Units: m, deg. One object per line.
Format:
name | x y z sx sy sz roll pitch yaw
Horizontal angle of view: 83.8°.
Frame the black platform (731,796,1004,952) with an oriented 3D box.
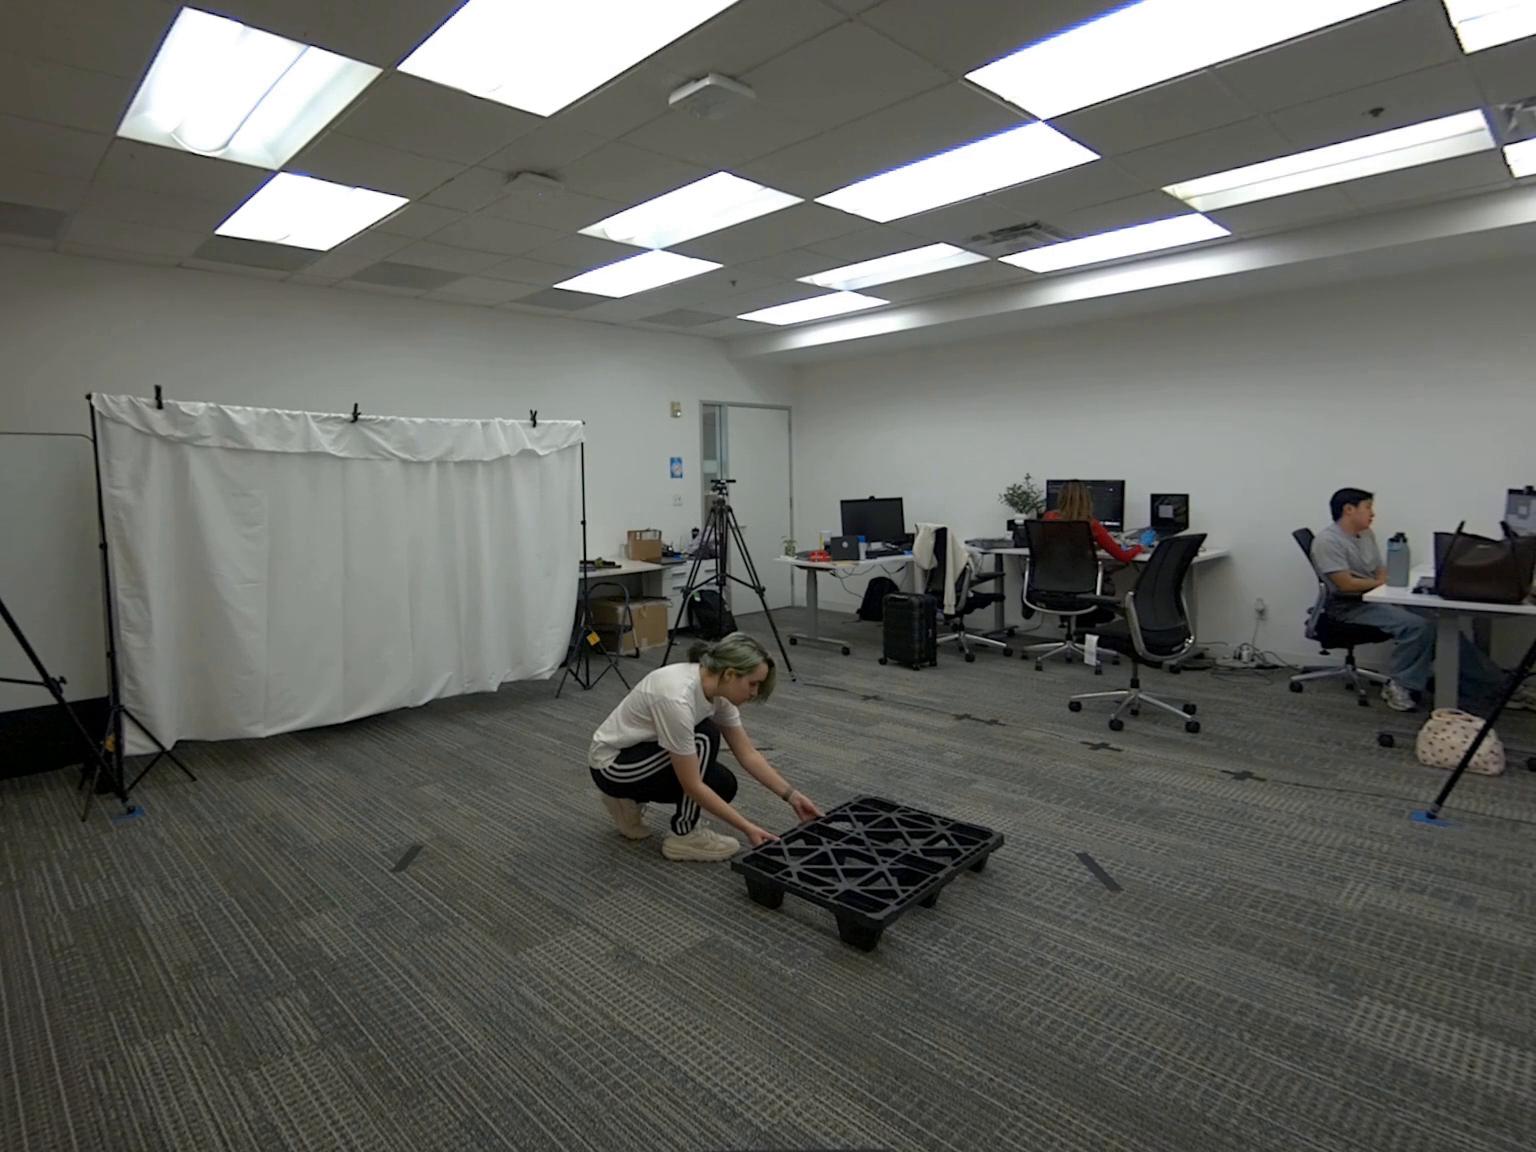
black platform | 0.353 0.995 2.926 0.623 0.143 0.785 4 8 42
